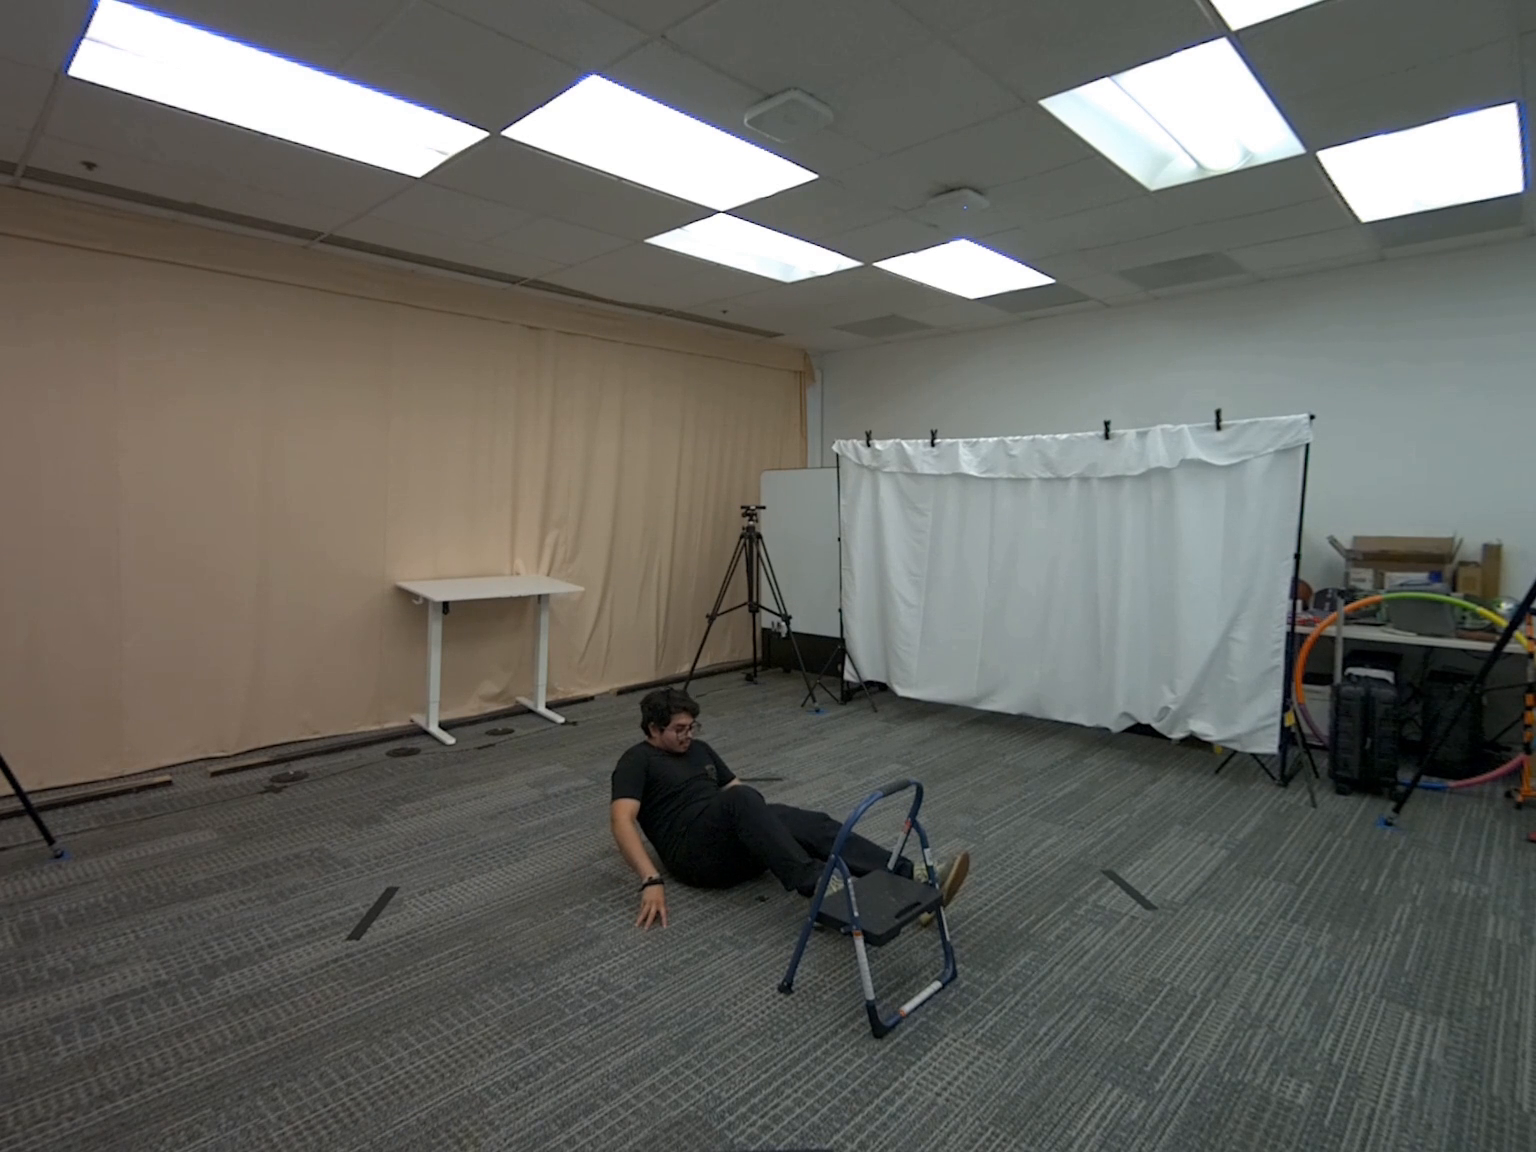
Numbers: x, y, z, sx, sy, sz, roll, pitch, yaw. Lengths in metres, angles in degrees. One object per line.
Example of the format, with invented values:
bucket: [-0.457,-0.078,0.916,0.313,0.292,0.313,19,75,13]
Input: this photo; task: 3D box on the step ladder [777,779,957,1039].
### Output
step ladder: [0.300,0.885,2.434,0.361,0.605,0.417,3,5,42]
